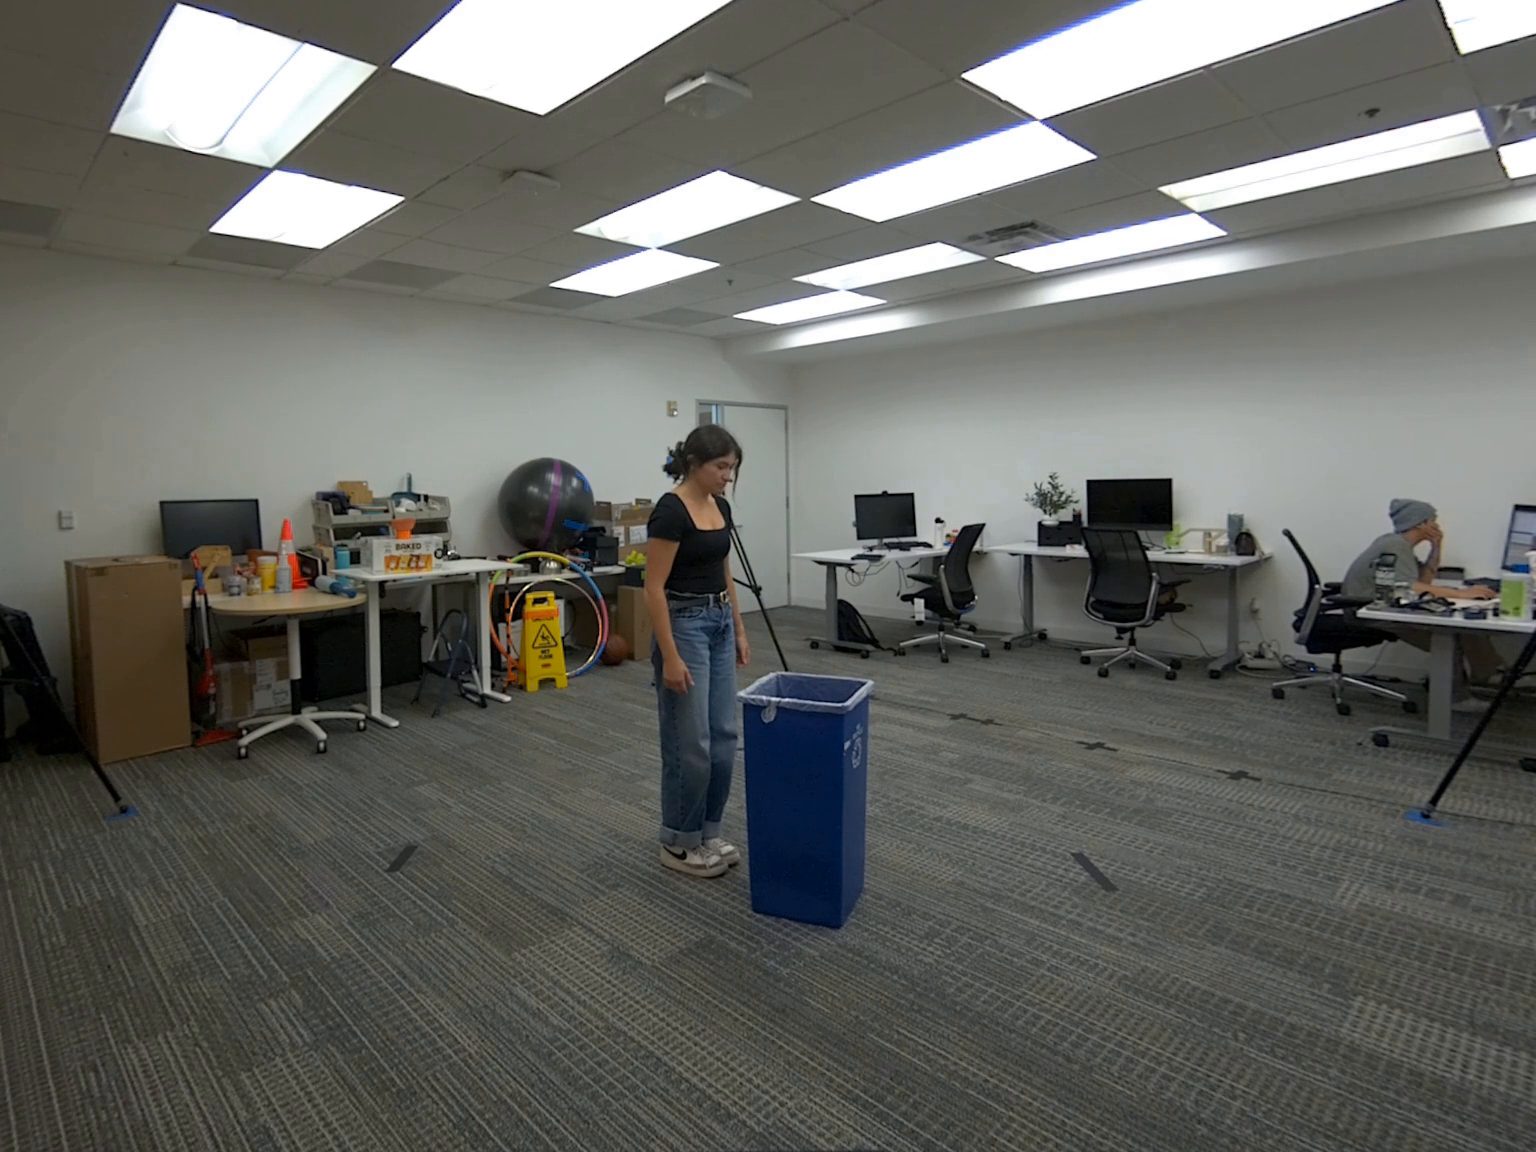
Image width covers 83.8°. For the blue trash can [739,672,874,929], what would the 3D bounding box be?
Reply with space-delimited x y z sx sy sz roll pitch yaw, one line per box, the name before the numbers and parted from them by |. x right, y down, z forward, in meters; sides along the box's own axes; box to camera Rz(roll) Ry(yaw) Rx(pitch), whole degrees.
blue trash can | 0.136 0.716 2.816 0.386 0.711 0.367 1 5 22
